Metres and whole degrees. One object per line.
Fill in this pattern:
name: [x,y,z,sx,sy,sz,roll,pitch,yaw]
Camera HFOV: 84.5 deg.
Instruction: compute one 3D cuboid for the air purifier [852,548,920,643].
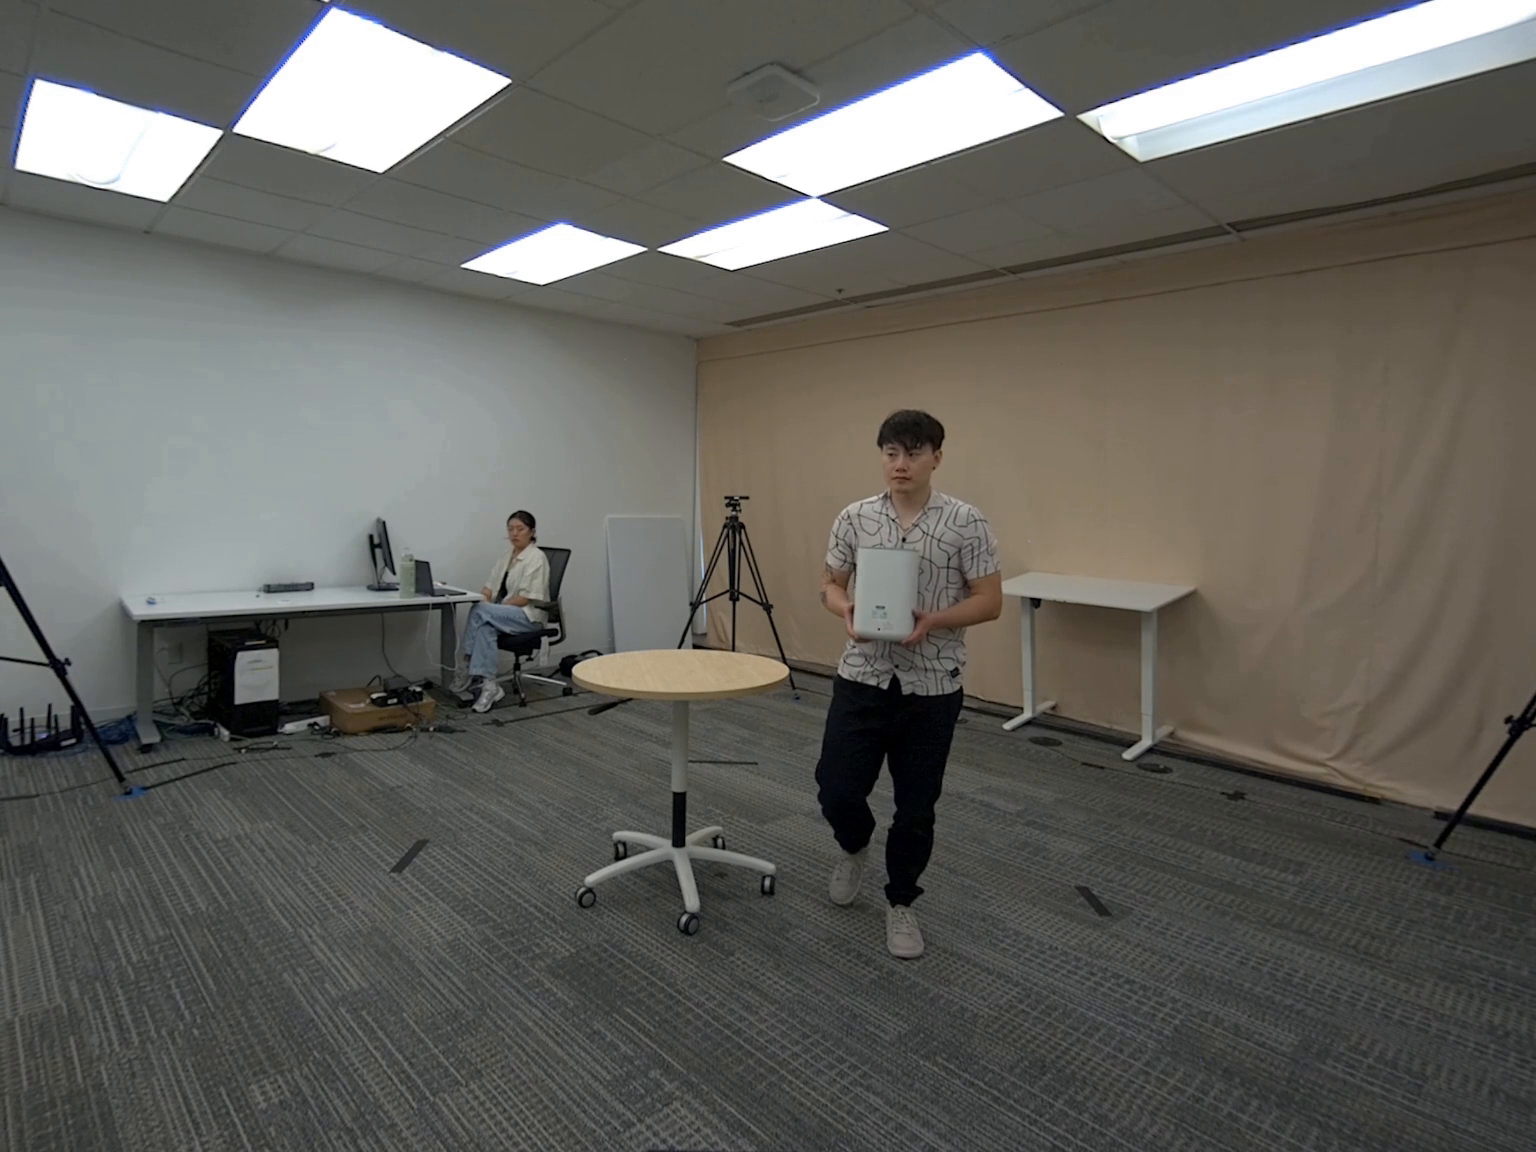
air purifier: [0.330,0.055,2.446,0.174,0.266,0.169,2,-1,20]
